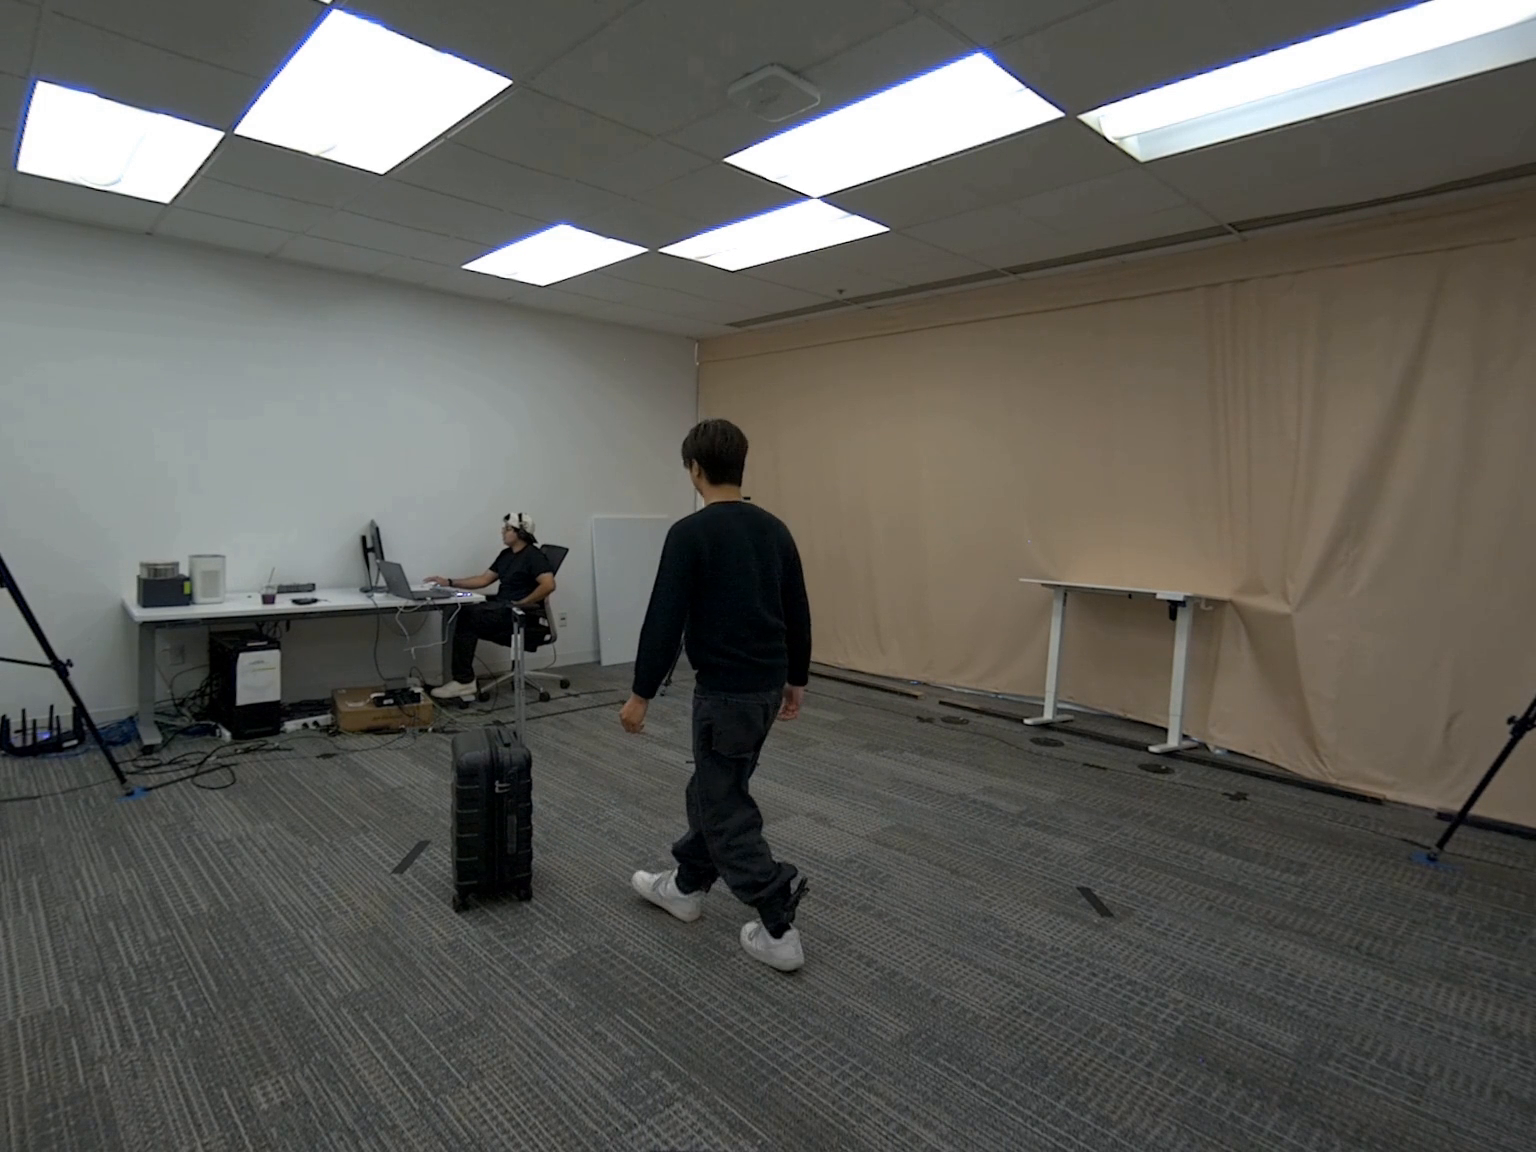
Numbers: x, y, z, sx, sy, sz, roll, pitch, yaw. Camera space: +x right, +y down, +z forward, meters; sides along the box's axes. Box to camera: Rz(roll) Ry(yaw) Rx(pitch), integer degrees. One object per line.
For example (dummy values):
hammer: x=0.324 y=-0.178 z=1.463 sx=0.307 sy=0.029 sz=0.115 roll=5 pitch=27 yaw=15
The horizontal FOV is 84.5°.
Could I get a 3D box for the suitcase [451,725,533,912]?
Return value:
suitcase: x=-0.981 y=0.630 z=2.935 sx=0.253 sy=0.975 sz=0.392 roll=-2 pitch=5 yaw=-24
